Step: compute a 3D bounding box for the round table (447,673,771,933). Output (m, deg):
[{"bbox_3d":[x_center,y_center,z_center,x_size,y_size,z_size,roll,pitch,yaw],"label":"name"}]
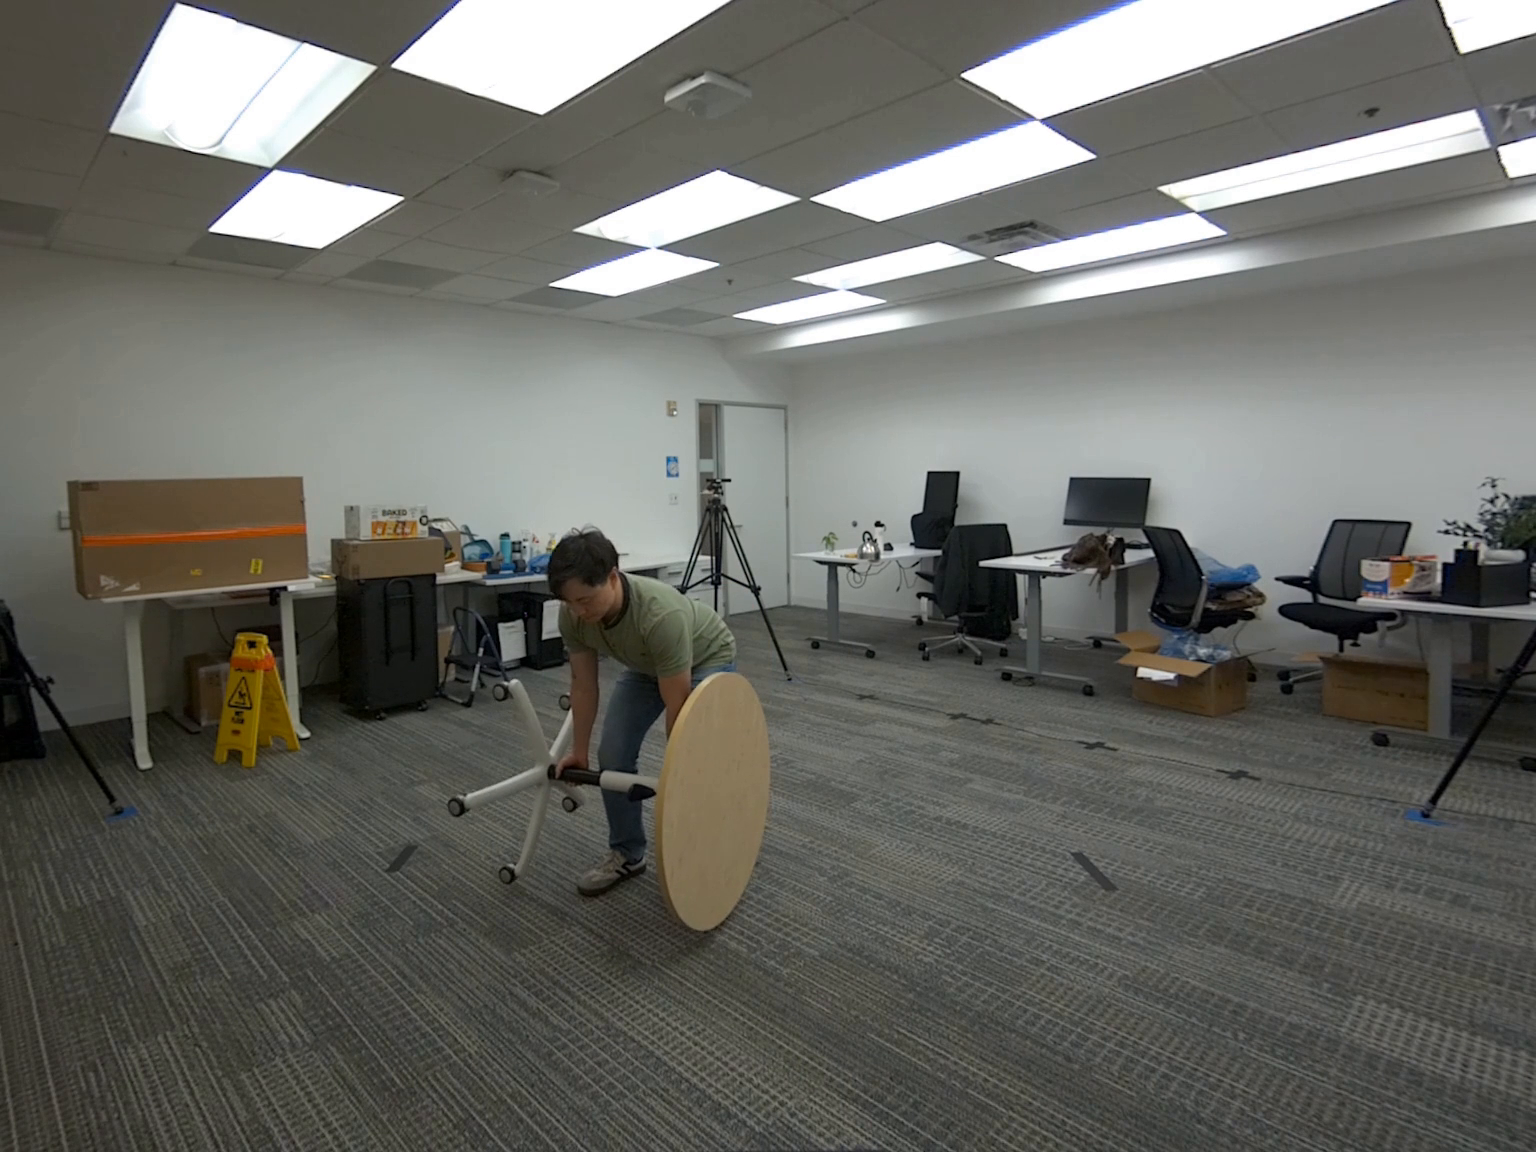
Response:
[{"bbox_3d":[-0.510,0.681,2.824,0.812,0.761,0.750,0,5,25],"label":"round table"}]
